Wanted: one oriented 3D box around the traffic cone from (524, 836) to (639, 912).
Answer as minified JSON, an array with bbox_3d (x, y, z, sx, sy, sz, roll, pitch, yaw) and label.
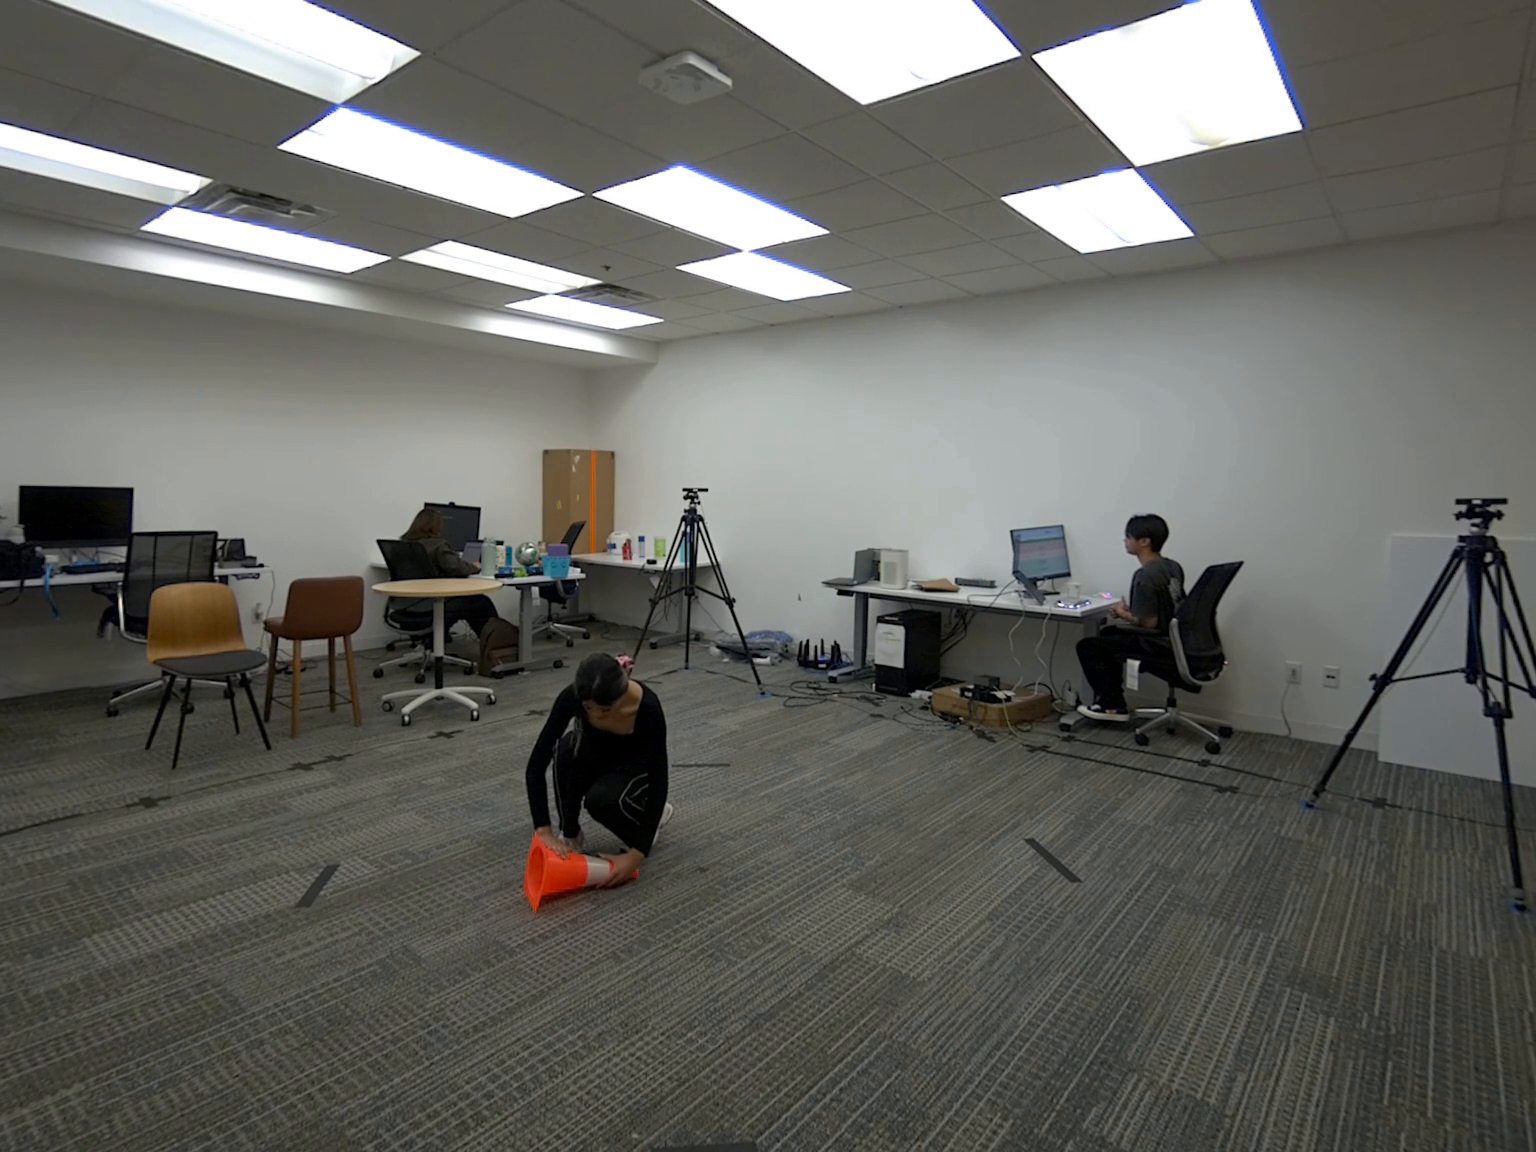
[{"bbox_3d":[-0.636,1.023,2.943,0.372,0.205,0.210,12,1,-28],"label":"traffic cone"}]
